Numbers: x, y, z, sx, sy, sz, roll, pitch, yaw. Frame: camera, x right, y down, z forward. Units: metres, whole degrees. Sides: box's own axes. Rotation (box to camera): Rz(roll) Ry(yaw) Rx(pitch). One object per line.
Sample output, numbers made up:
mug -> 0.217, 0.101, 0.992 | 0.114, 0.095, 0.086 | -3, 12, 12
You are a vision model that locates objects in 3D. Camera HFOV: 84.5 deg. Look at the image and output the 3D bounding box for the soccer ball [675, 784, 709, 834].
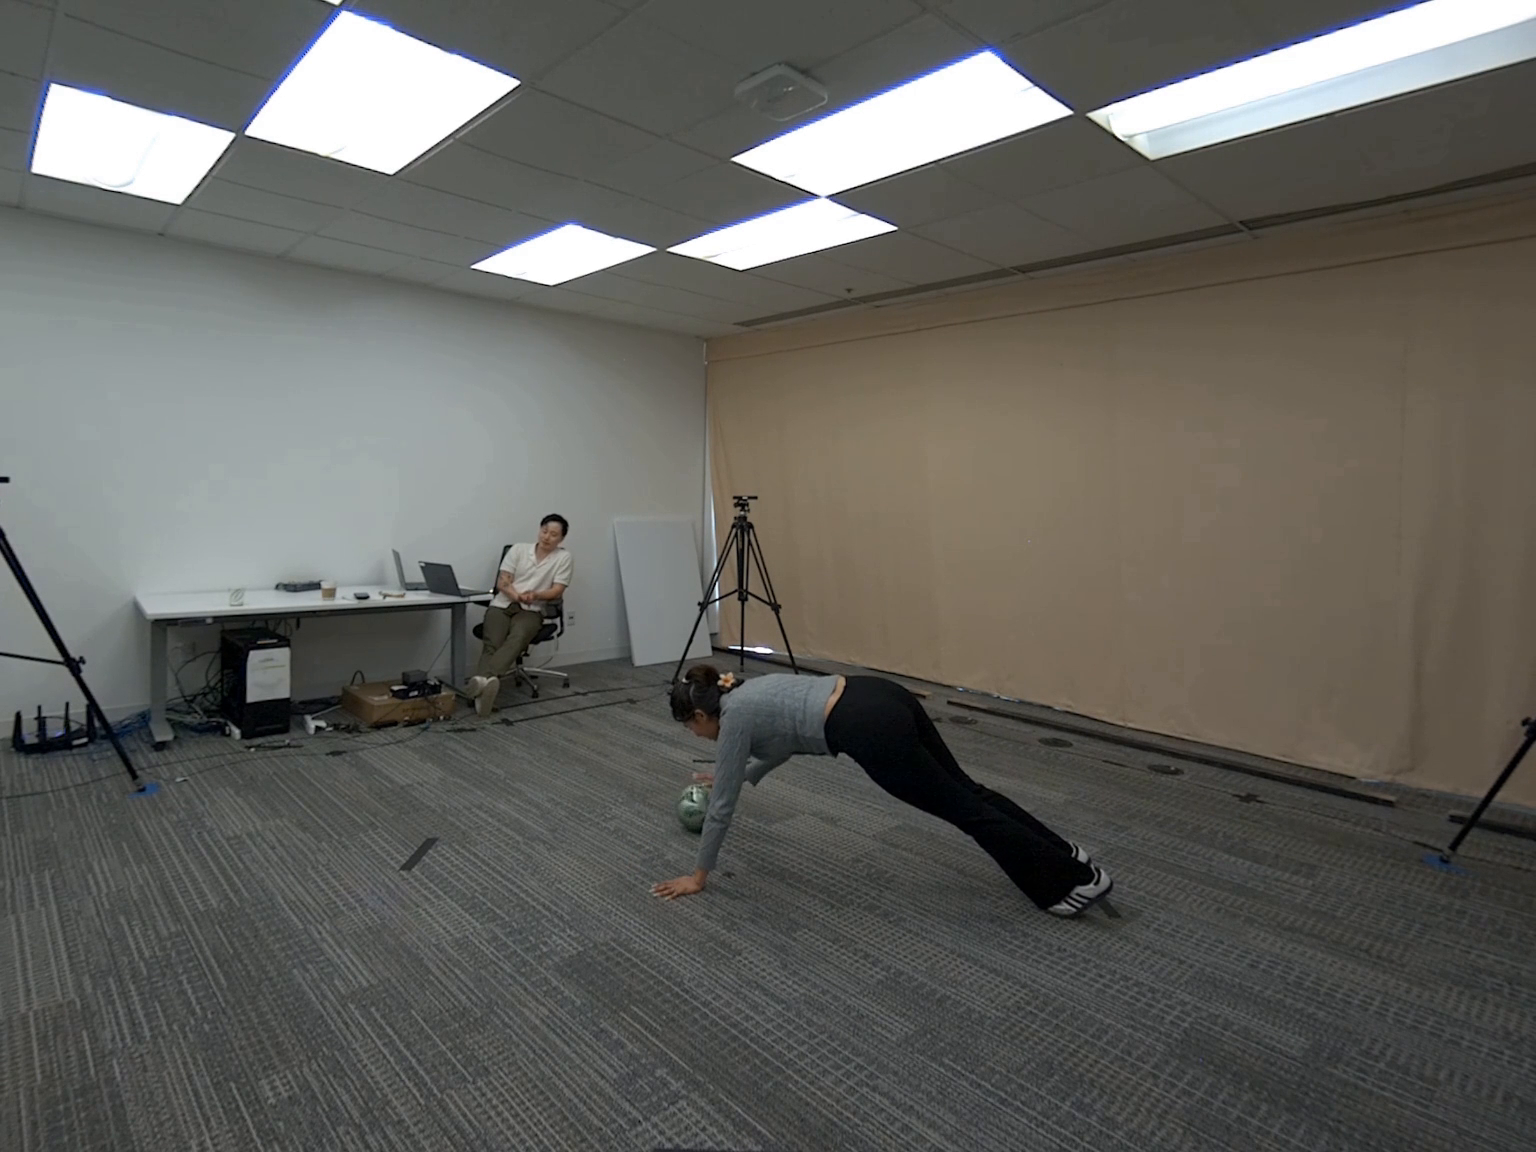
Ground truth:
soccer ball -> -0.309, 0.968, 3.515 | 0.187, 0.187, 0.188 | 1, 4, -1
